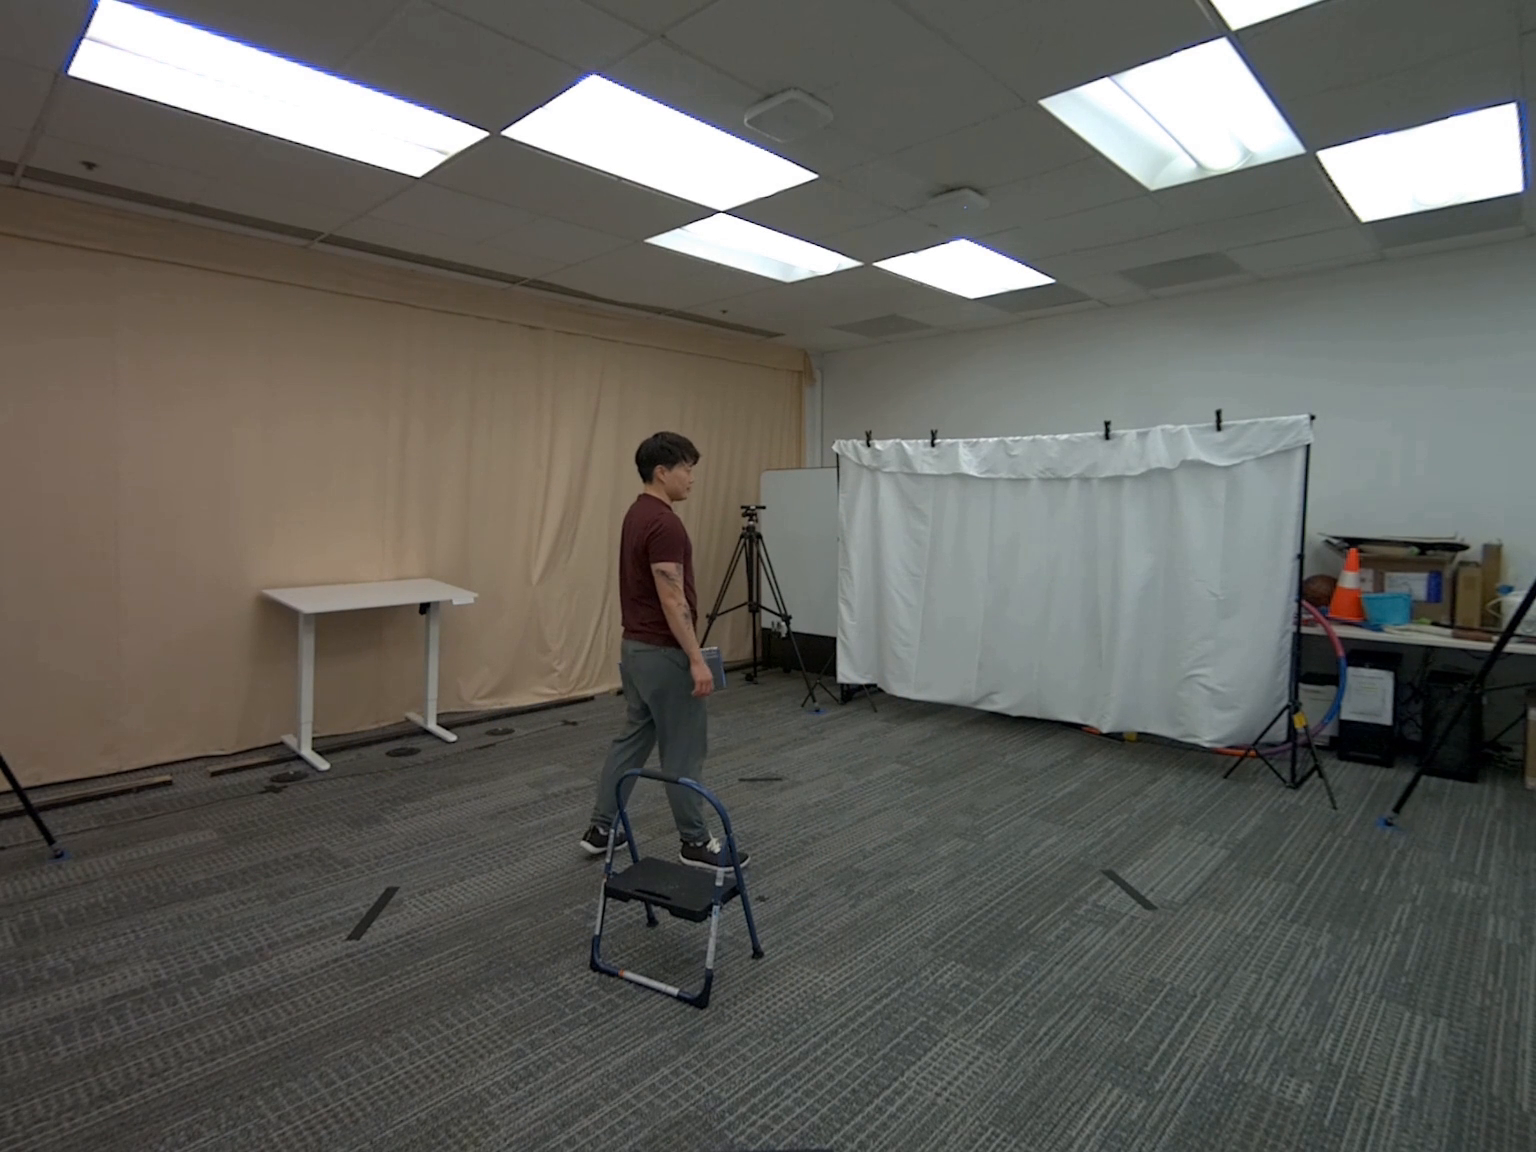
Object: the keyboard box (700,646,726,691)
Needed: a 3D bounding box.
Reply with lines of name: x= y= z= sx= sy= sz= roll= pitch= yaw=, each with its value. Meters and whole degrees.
keyboard box: x=-0.416 y=0.417 z=3.608 sx=0.439 sy=0.175 sz=0.059 roll=-7 pitch=6 yaw=5
